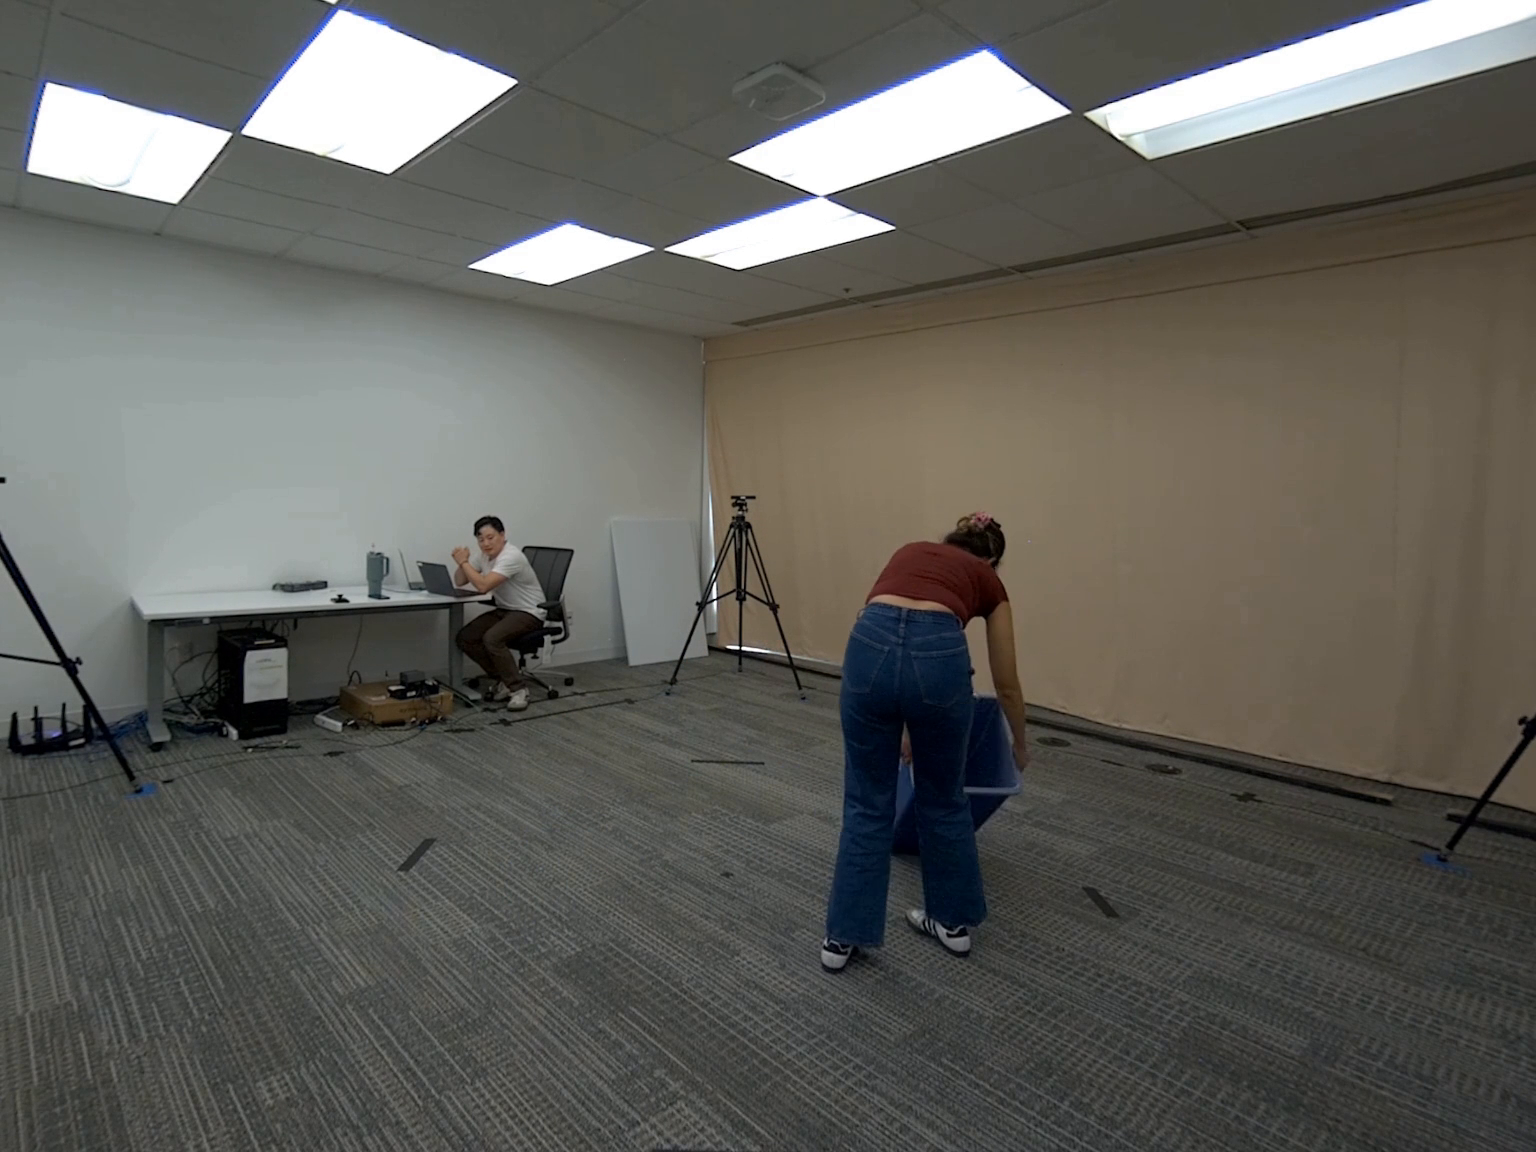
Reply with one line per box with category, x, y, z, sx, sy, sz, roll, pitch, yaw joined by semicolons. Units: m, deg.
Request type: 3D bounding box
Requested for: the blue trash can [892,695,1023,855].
blue trash can;0.623;0.777;3.142;0.377;0.382;0.699;2;-38;-3
